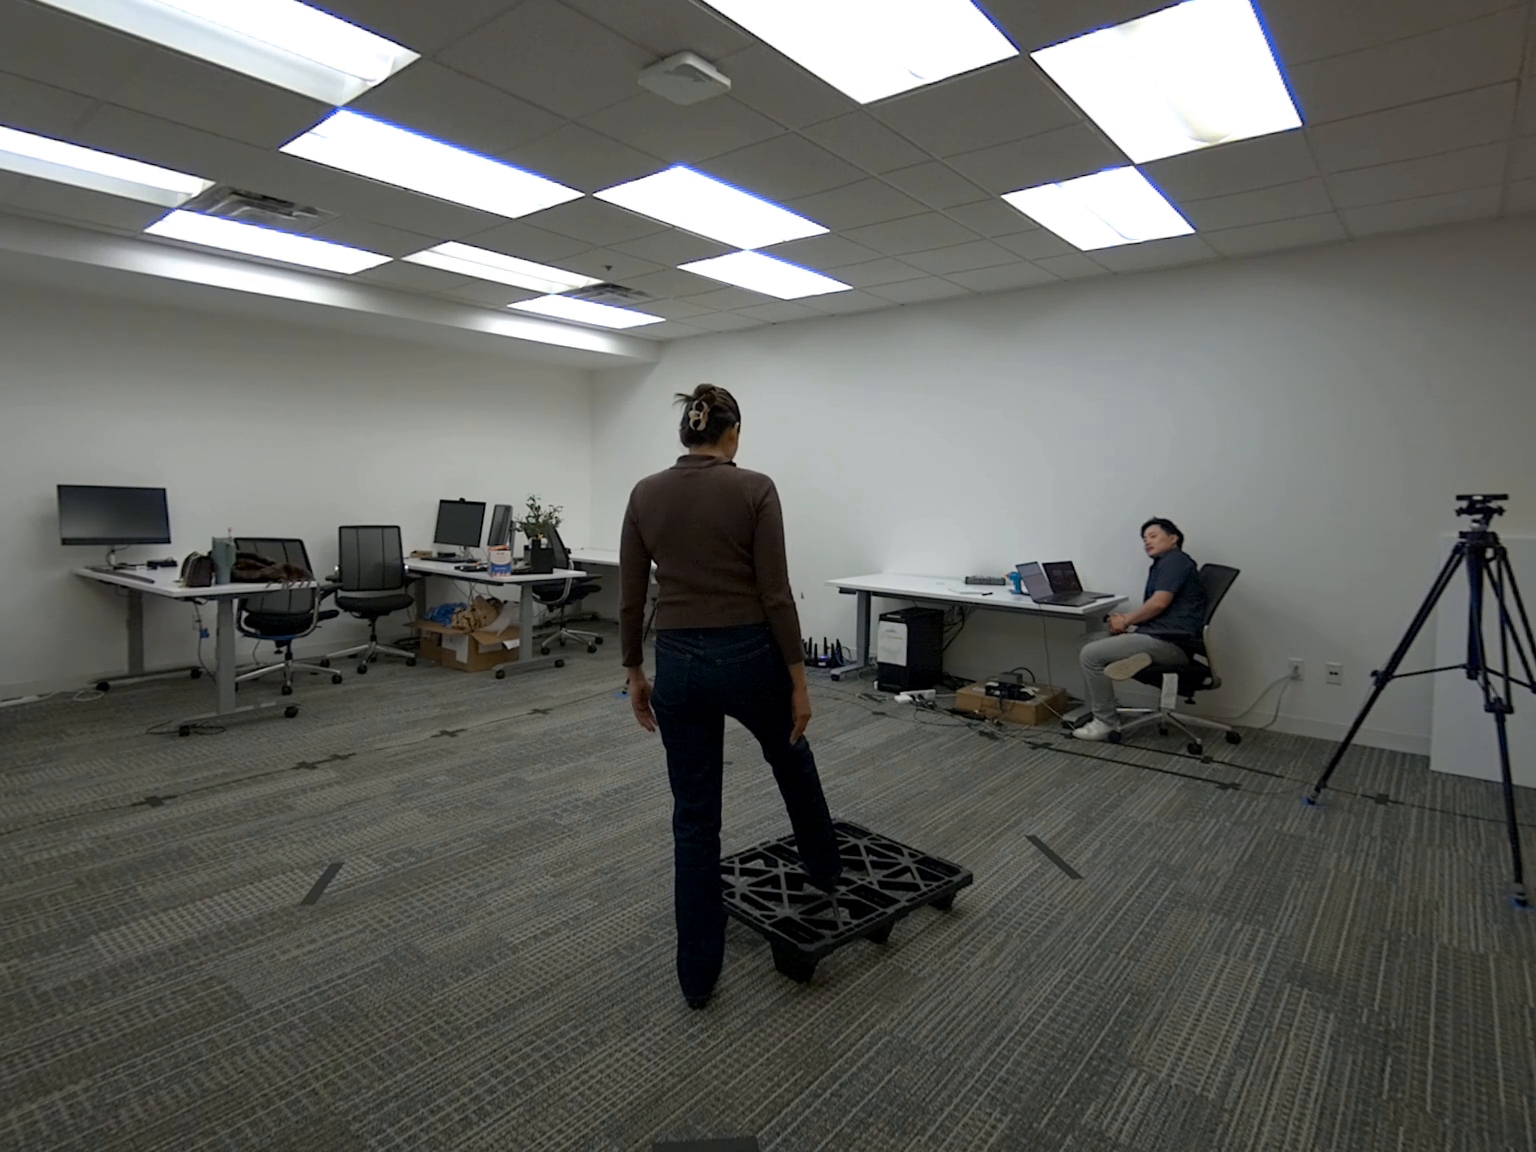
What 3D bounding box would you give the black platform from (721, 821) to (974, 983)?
[{"bbox_3d":[0.182,1.038,2.792,0.781,0.143,0.626,-4,7,-42],"label":"black platform"}]
